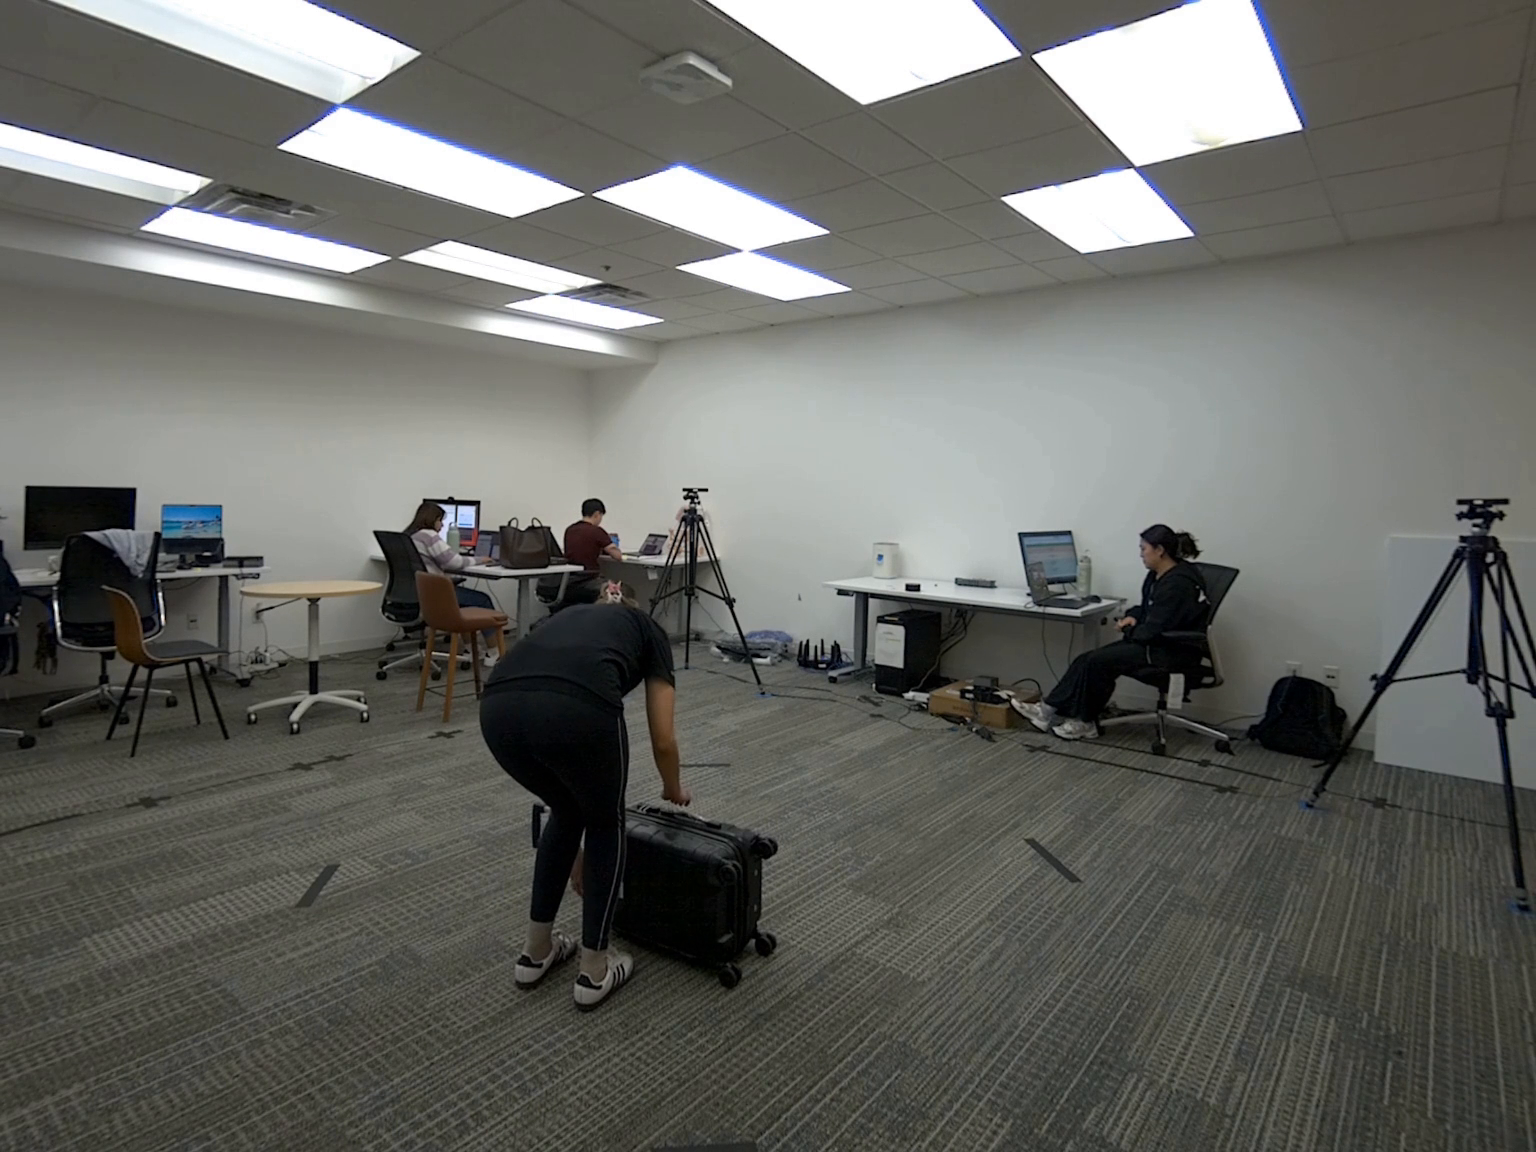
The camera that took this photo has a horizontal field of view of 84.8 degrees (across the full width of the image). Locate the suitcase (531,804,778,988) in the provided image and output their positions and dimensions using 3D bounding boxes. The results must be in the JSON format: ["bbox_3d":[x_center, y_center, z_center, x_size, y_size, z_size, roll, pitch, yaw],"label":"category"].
[{"bbox_3d":[-0.456,0.917,2.707,1.007,0.383,0.250,4,4,30],"label":"suitcase"}]
